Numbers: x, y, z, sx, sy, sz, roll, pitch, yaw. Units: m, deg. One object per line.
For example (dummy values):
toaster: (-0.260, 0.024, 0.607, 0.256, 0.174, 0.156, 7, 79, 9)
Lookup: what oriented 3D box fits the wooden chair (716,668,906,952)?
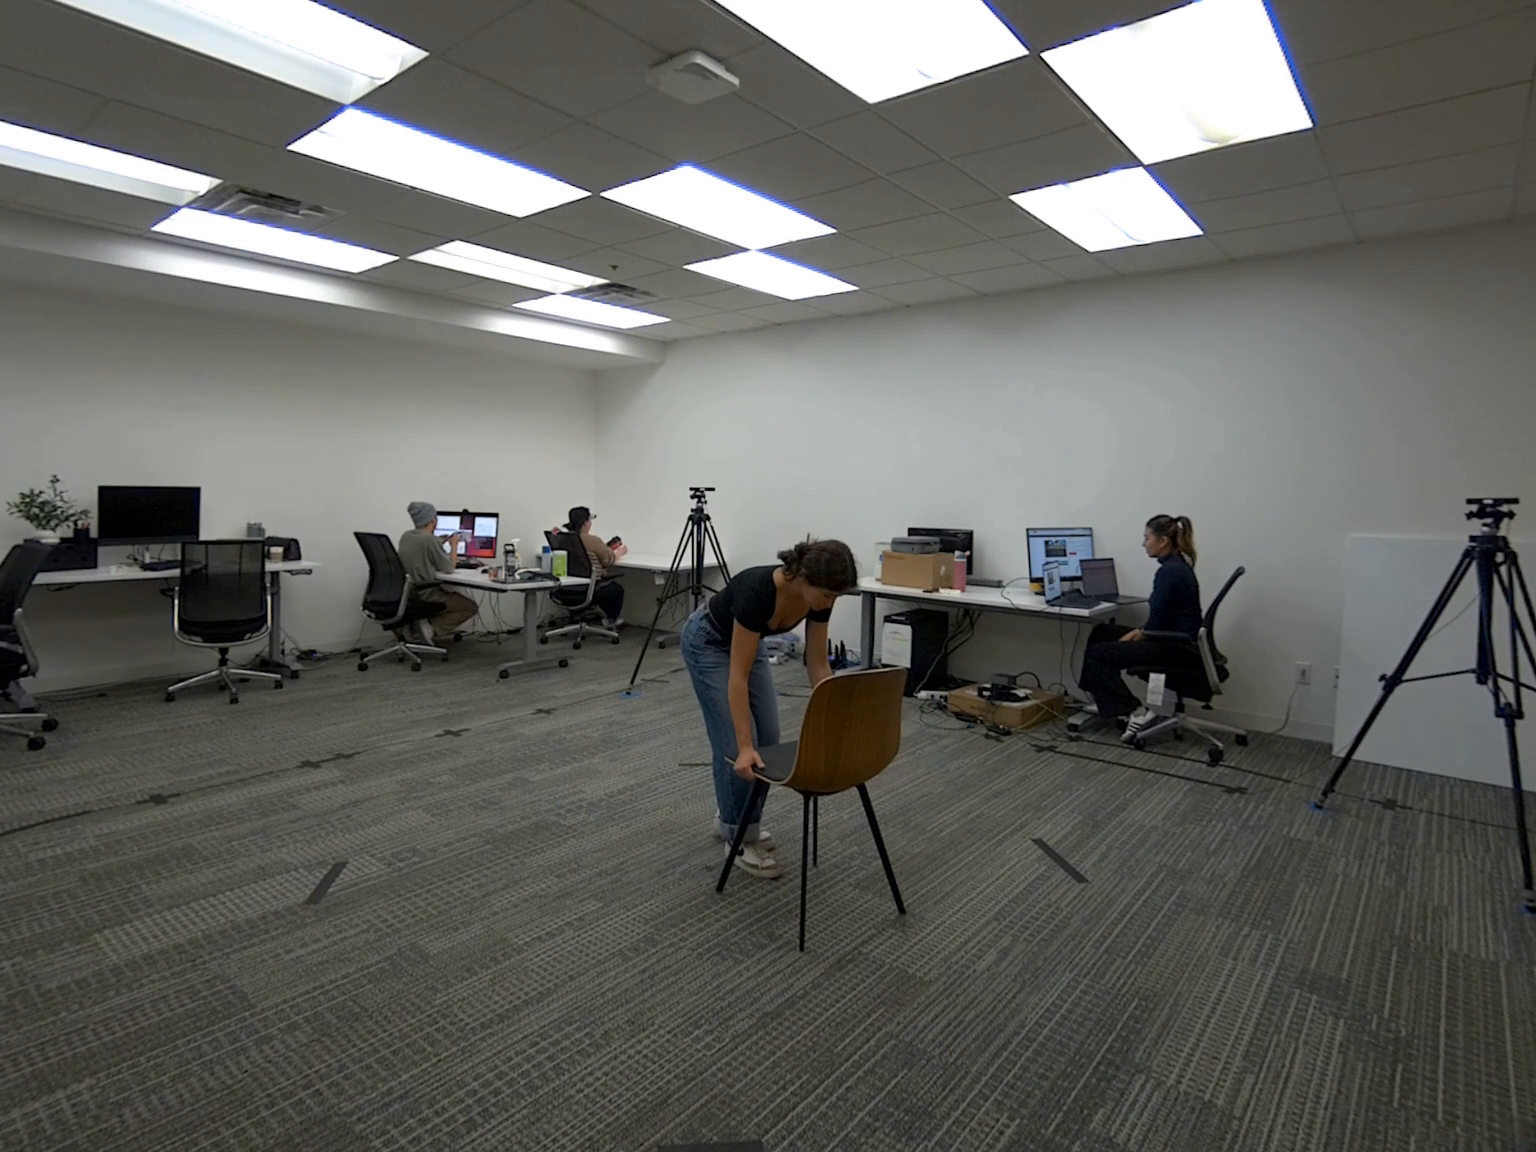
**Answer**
wooden chair: (0.136, 0.666, 2.850, 0.464, 0.872, 0.542, 0, 8, -36)
